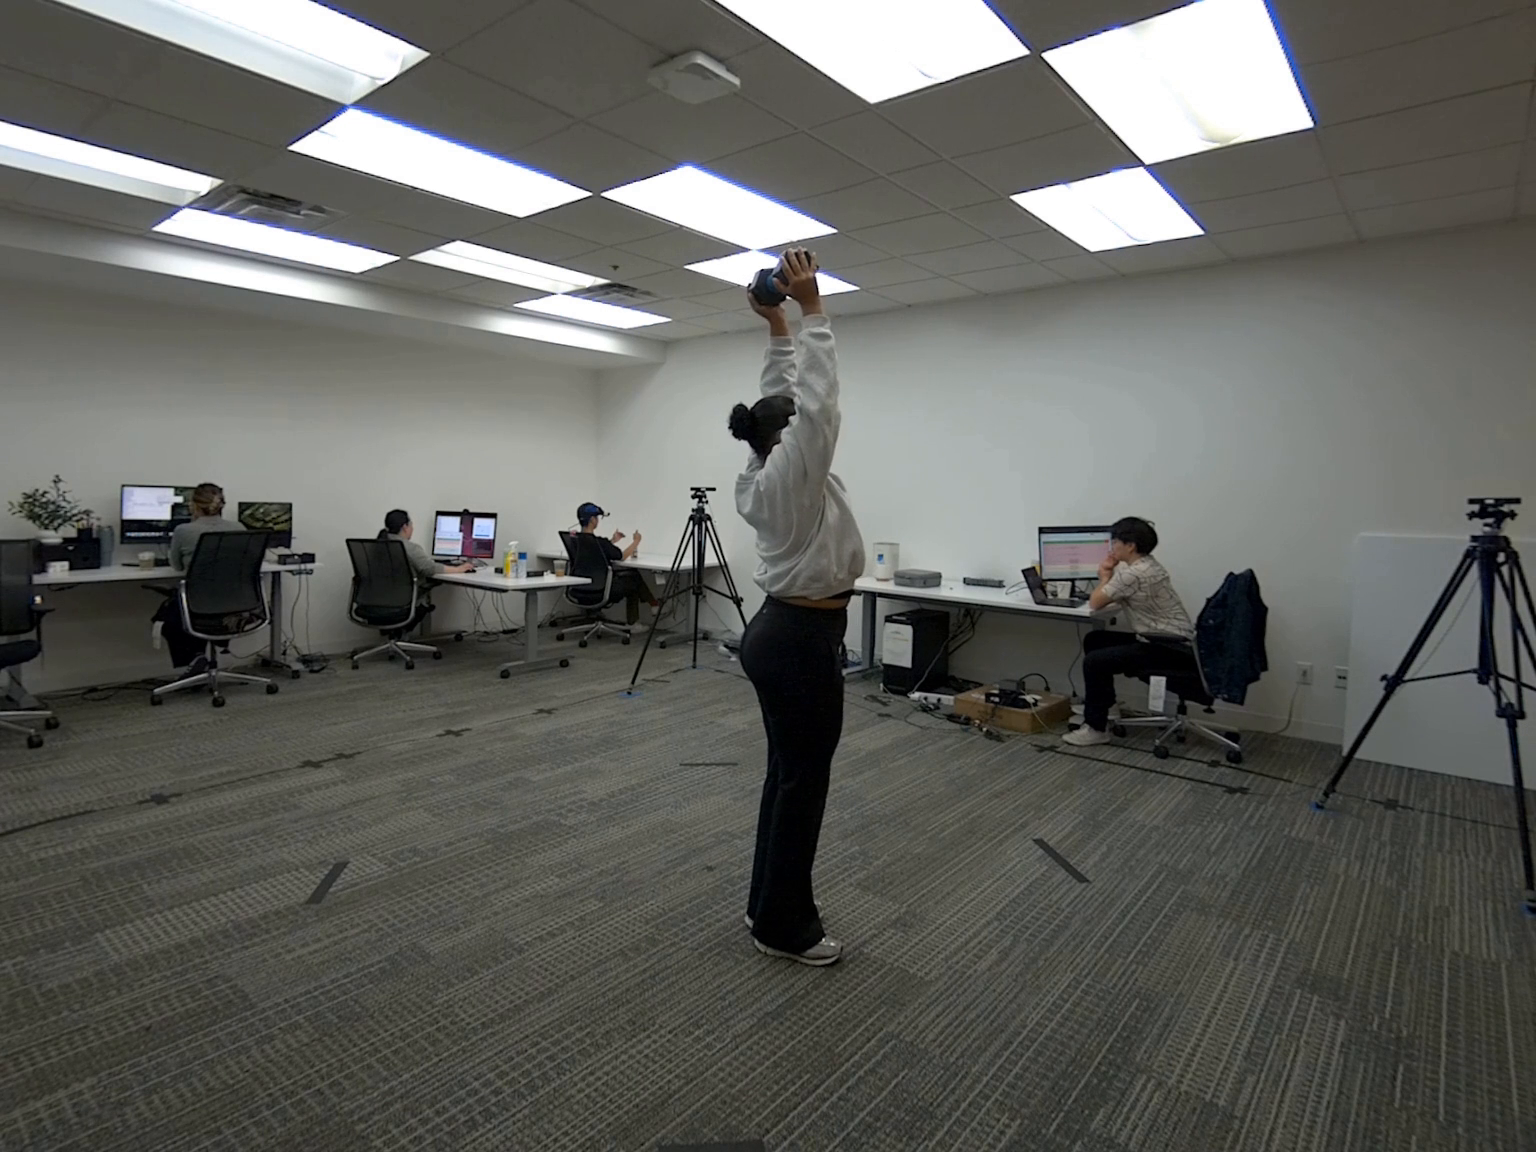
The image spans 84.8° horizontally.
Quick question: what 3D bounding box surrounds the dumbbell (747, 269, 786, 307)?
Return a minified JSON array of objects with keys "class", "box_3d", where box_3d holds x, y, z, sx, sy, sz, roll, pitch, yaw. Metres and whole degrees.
[{"class":"dumbbell","box_3d":[0.040,-0.875,2.510,0.106,0.123,0.300,24,-2,-19]}]
